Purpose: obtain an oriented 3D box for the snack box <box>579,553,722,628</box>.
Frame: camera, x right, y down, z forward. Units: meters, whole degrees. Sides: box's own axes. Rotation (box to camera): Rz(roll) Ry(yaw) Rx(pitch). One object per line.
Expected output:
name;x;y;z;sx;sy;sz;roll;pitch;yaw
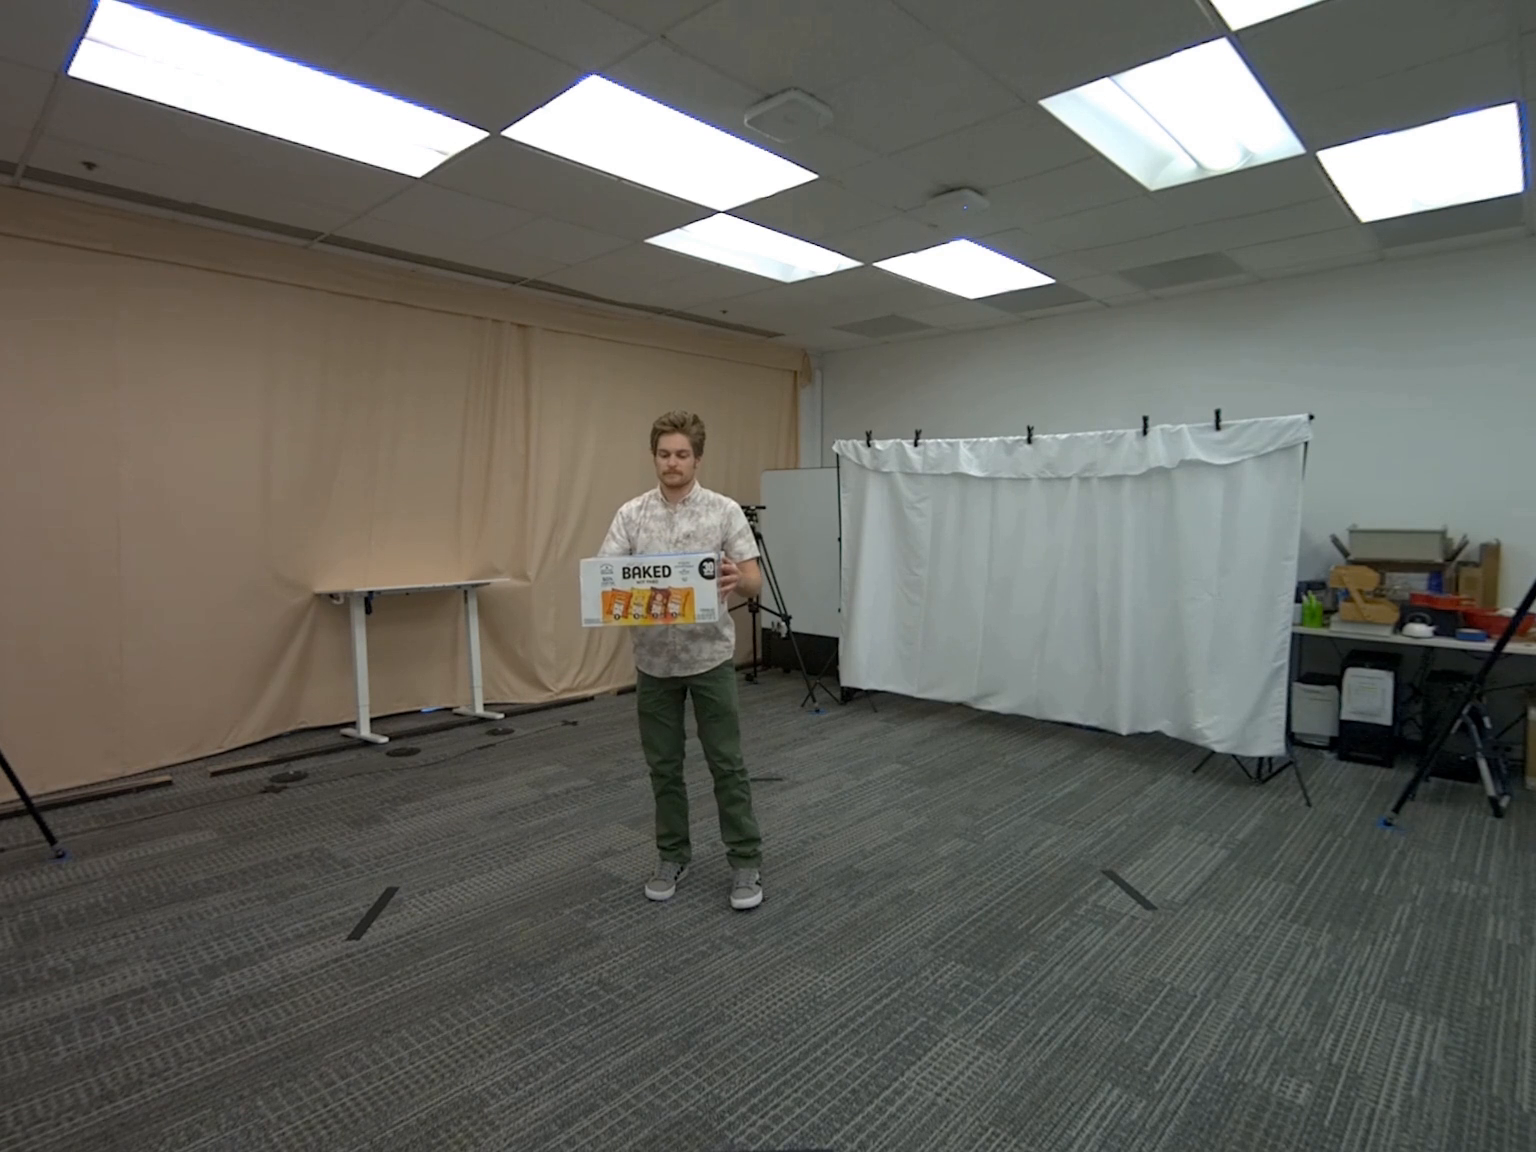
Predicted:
snack box;-0.346;0.035;2.643;0.407;0.205;0.339;-2;3;4
